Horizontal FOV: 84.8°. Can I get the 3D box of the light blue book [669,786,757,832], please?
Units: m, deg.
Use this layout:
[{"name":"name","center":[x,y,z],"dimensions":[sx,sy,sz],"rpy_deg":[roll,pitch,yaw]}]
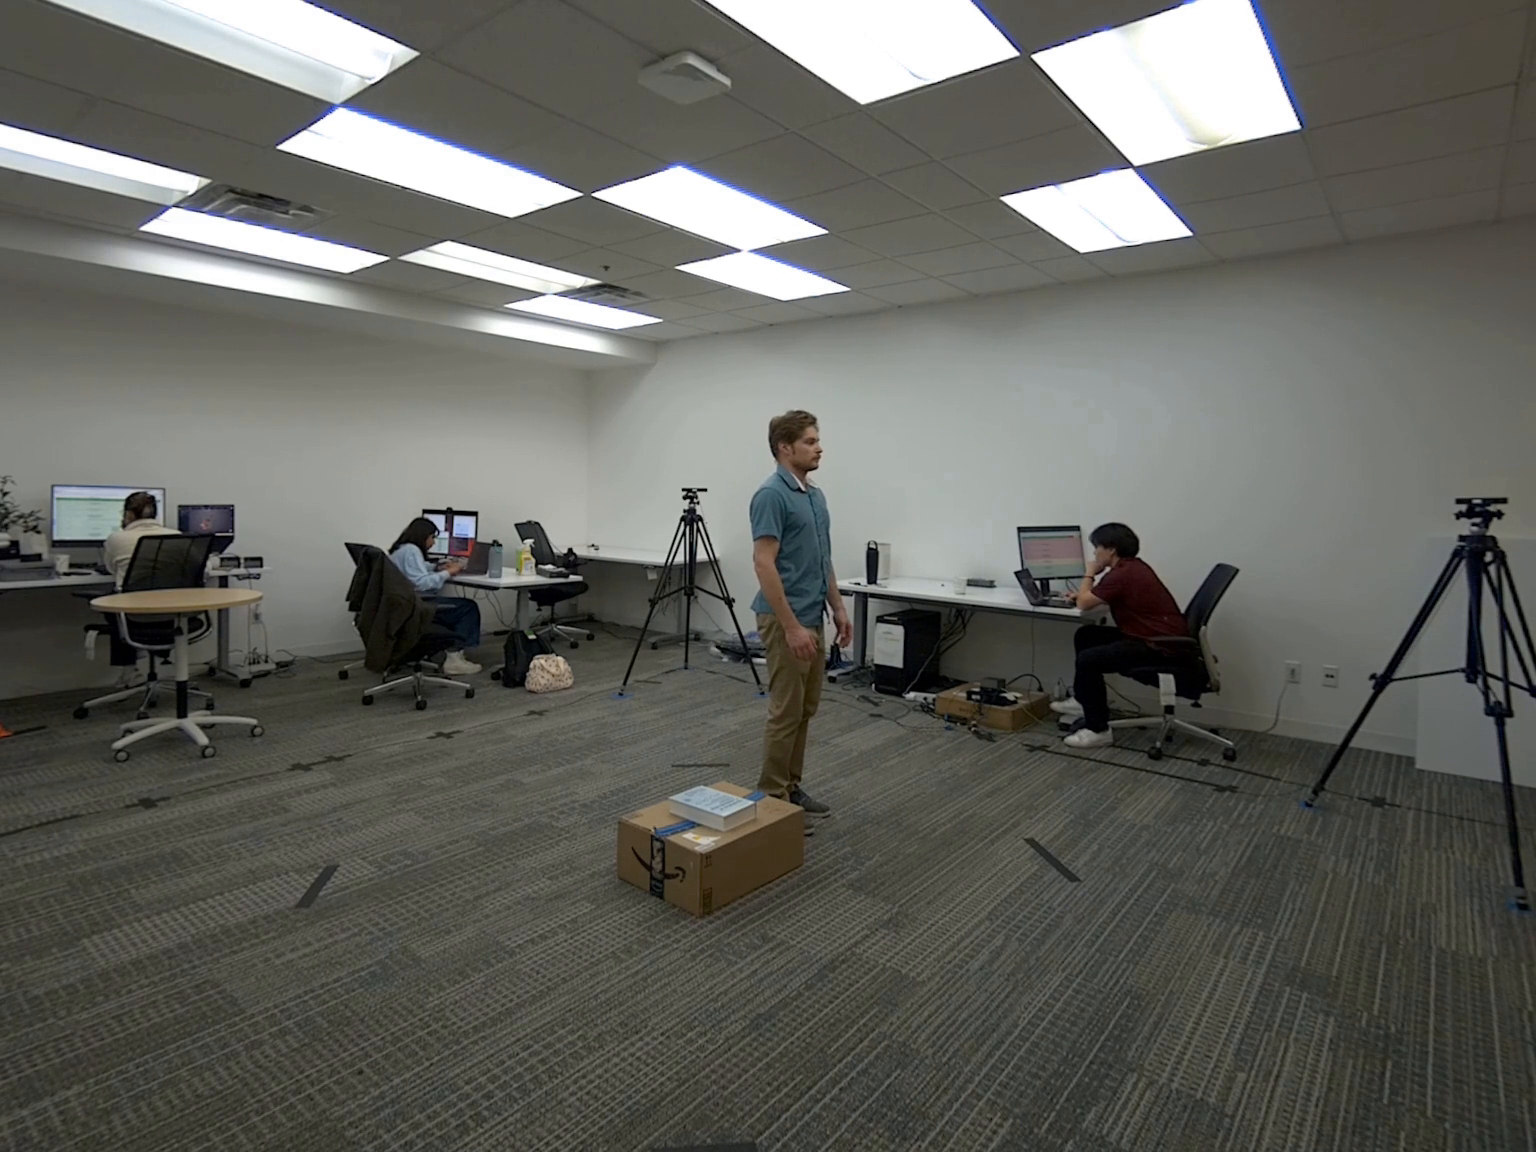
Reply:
[{"name":"light blue book","center":[-0.208,0.829,3.077],"dimensions":[0.270,0.059,0.186],"rpy_deg":[5,7,38]}]
